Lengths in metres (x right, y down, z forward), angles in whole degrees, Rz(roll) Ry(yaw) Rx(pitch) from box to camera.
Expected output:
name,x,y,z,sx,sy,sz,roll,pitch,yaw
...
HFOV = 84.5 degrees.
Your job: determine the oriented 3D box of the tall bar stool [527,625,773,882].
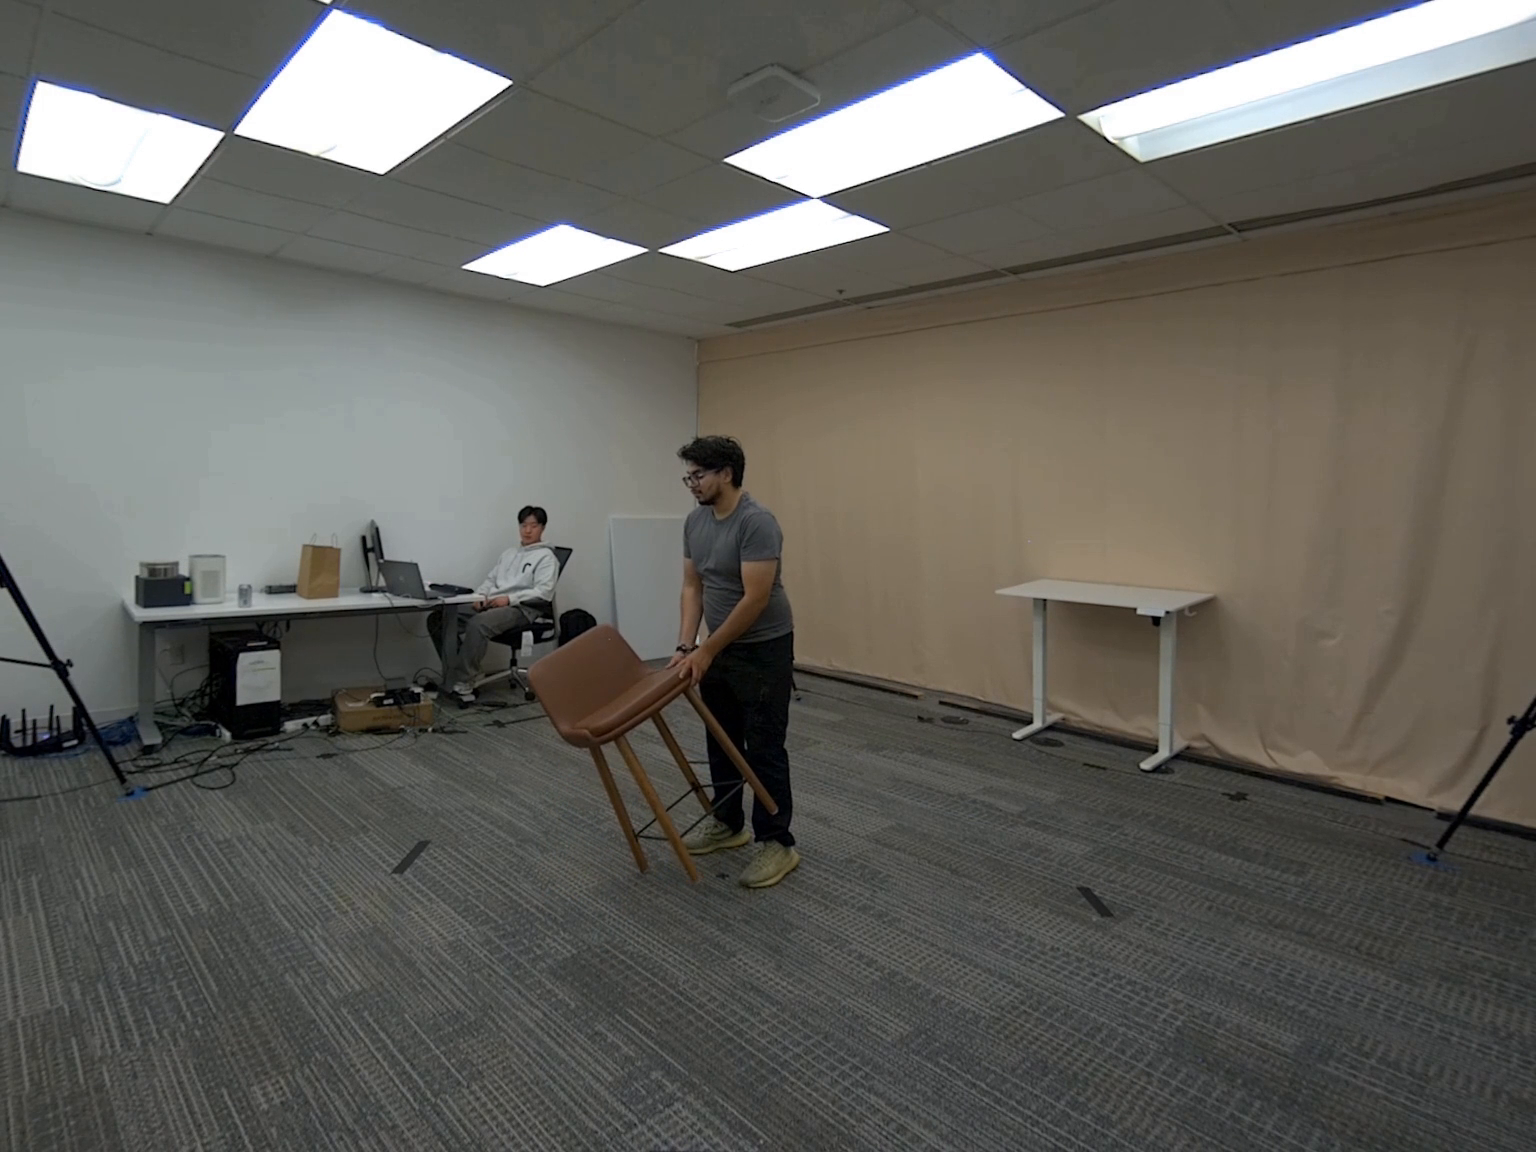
name,x,y,z,sx,sy,sz,roll,pitch,yaw
tall bar stool,-0.447,0.594,3.035,0.452,0.890,0.472,-30,1,-35
